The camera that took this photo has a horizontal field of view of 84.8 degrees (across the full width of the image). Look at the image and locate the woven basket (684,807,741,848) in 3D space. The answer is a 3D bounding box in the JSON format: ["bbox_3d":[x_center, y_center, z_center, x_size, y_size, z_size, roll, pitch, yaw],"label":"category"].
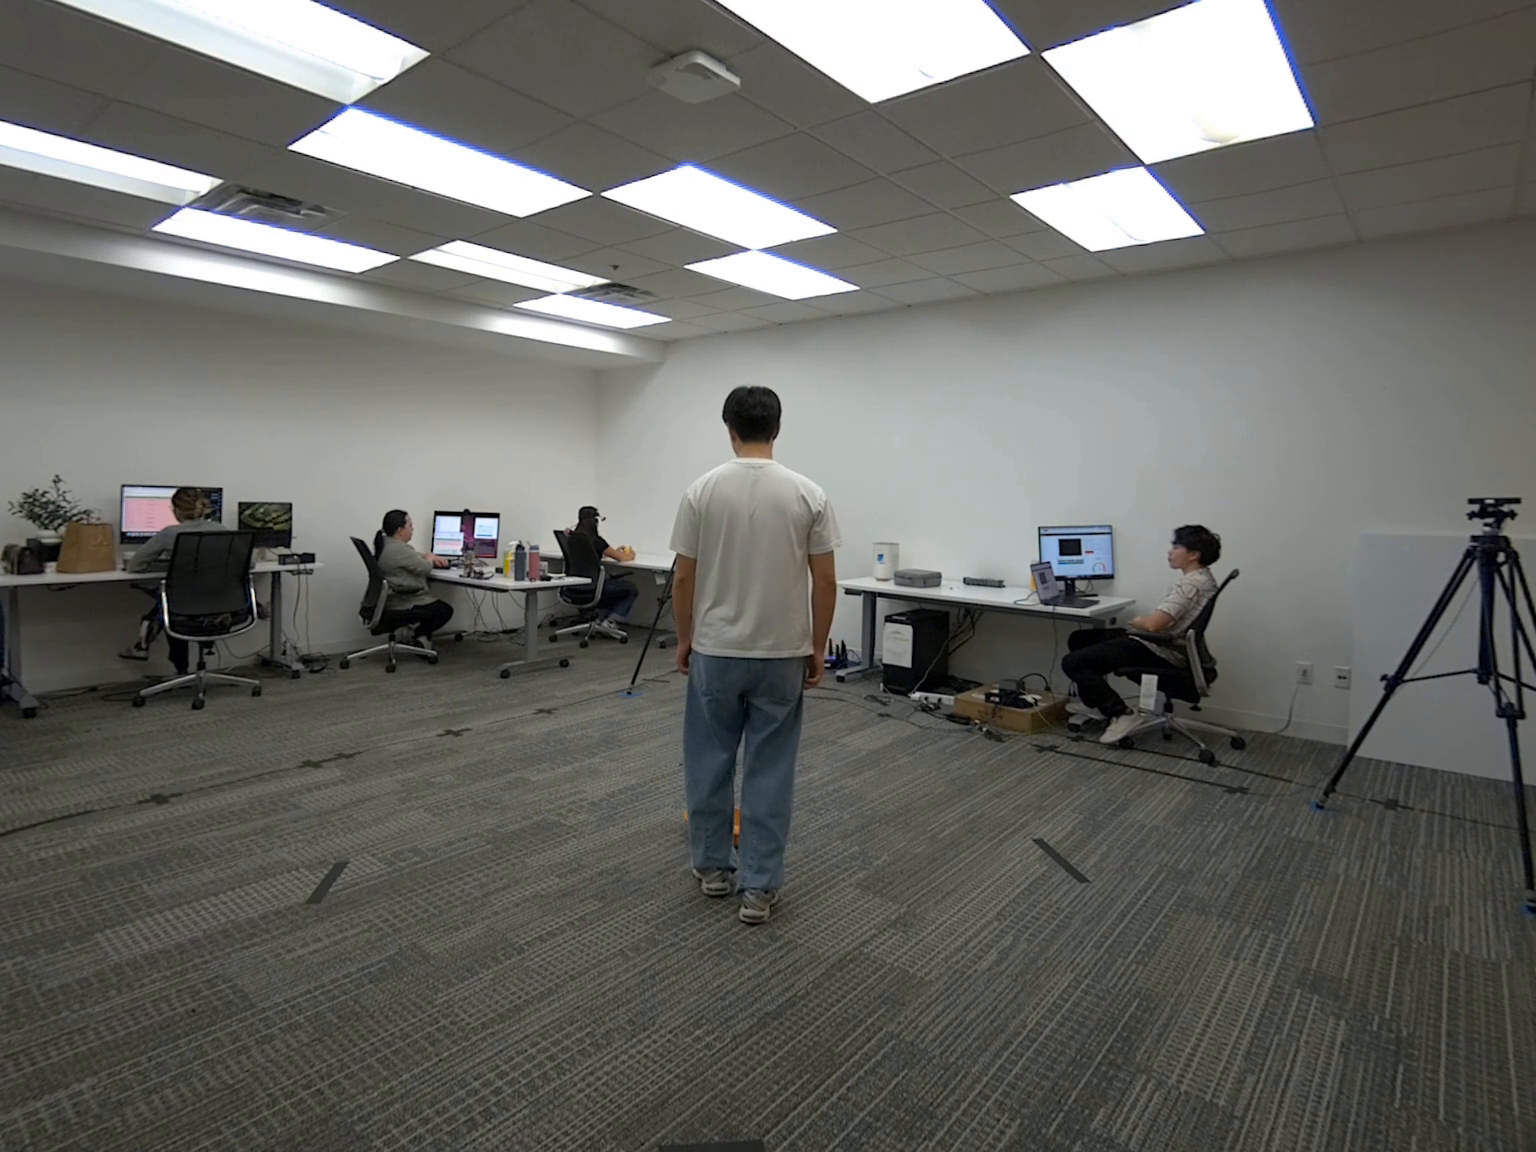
[{"bbox_3d":[-0.188,0.990,3.408,0.362,0.073,0.245,5,6,39],"label":"woven basket"}]
